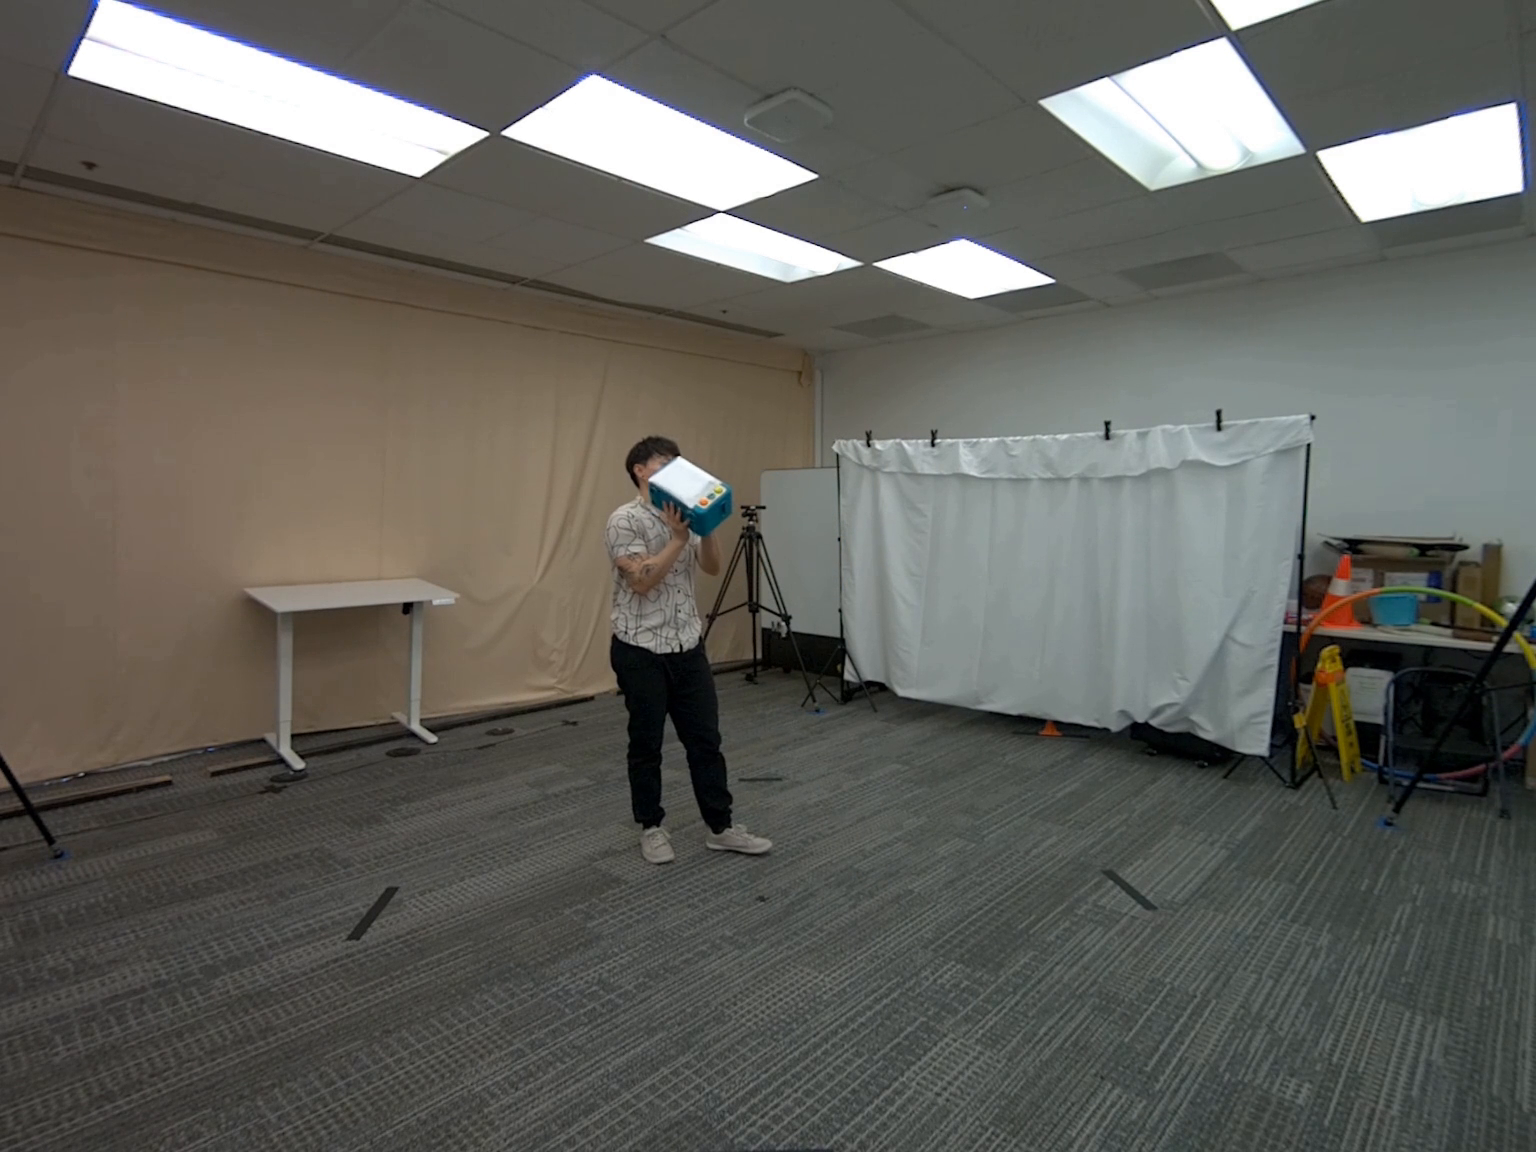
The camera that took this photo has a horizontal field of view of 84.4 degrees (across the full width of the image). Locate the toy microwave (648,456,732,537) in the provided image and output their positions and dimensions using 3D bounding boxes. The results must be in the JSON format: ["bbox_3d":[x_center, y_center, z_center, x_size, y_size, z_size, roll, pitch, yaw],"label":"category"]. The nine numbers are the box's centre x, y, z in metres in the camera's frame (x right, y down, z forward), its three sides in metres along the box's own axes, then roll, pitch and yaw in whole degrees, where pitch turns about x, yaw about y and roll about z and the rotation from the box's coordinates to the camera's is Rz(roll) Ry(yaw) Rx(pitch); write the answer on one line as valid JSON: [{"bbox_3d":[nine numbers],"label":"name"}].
[{"bbox_3d":[-0.281,-0.297,3.085,0.295,0.149,0.182,33,59,25],"label":"toy microwave"}]
